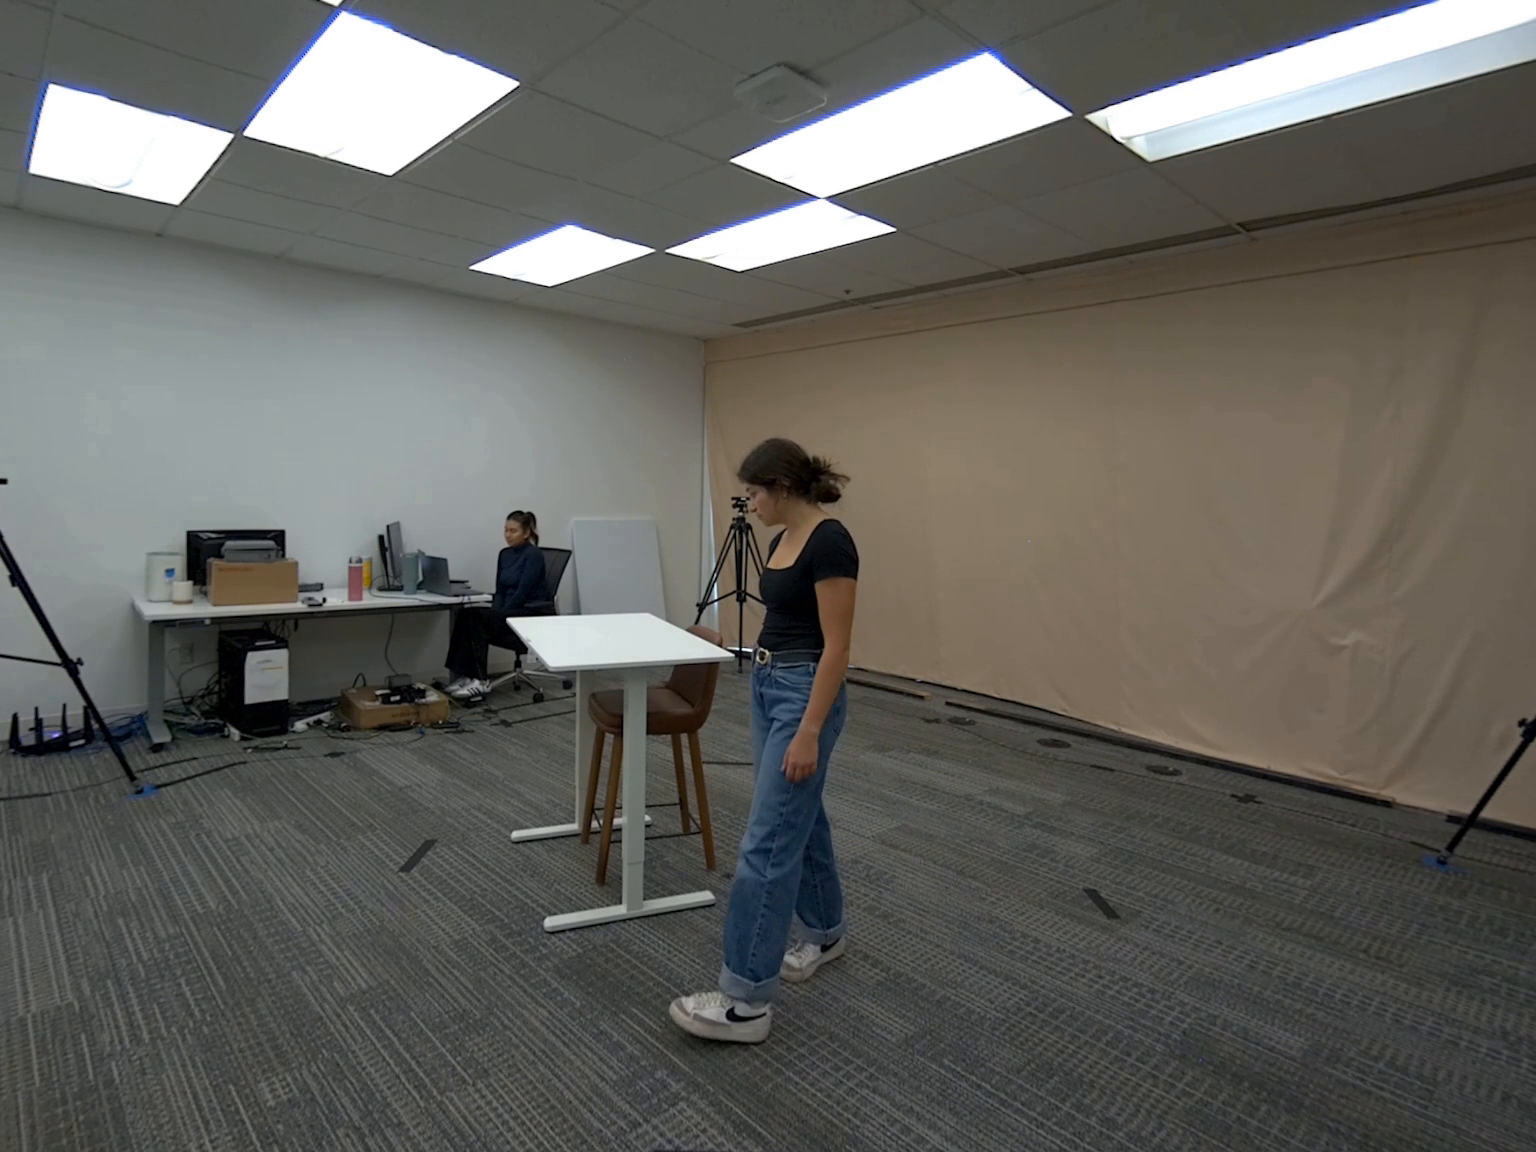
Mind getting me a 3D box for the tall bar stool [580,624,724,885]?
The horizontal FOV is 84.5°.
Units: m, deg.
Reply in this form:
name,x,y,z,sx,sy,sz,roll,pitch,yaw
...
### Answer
name,x,y,z,sx,sy,sz,roll,pitch,yaw
tall bar stool,-0.459,0.659,3.238,0.460,0.888,0.464,2,3,-20
